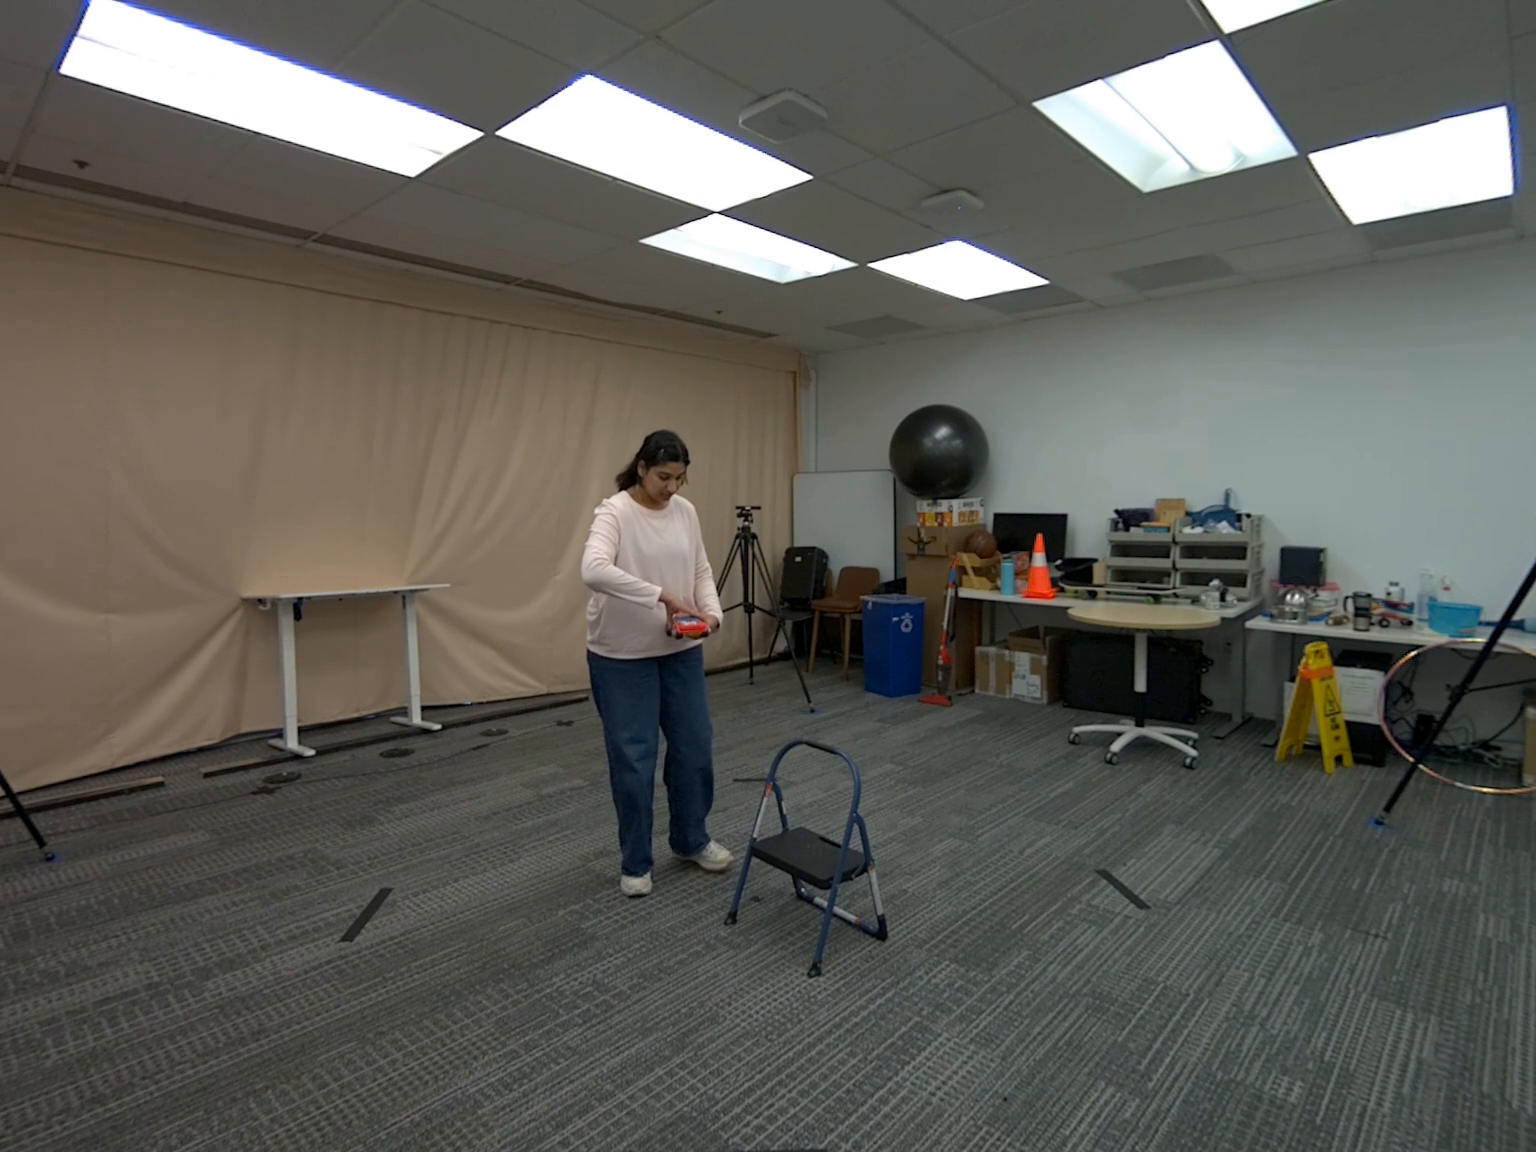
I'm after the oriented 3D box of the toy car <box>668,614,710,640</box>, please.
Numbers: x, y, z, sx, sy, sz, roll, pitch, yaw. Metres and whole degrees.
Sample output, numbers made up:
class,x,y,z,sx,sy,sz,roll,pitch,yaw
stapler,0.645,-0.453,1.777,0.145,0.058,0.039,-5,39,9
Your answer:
class,x,y,z,sx,sy,sz,roll,pitch,yaw
toy car,-0.279,0.176,2.885,0.129,0.083,0.259,-3,10,-11
